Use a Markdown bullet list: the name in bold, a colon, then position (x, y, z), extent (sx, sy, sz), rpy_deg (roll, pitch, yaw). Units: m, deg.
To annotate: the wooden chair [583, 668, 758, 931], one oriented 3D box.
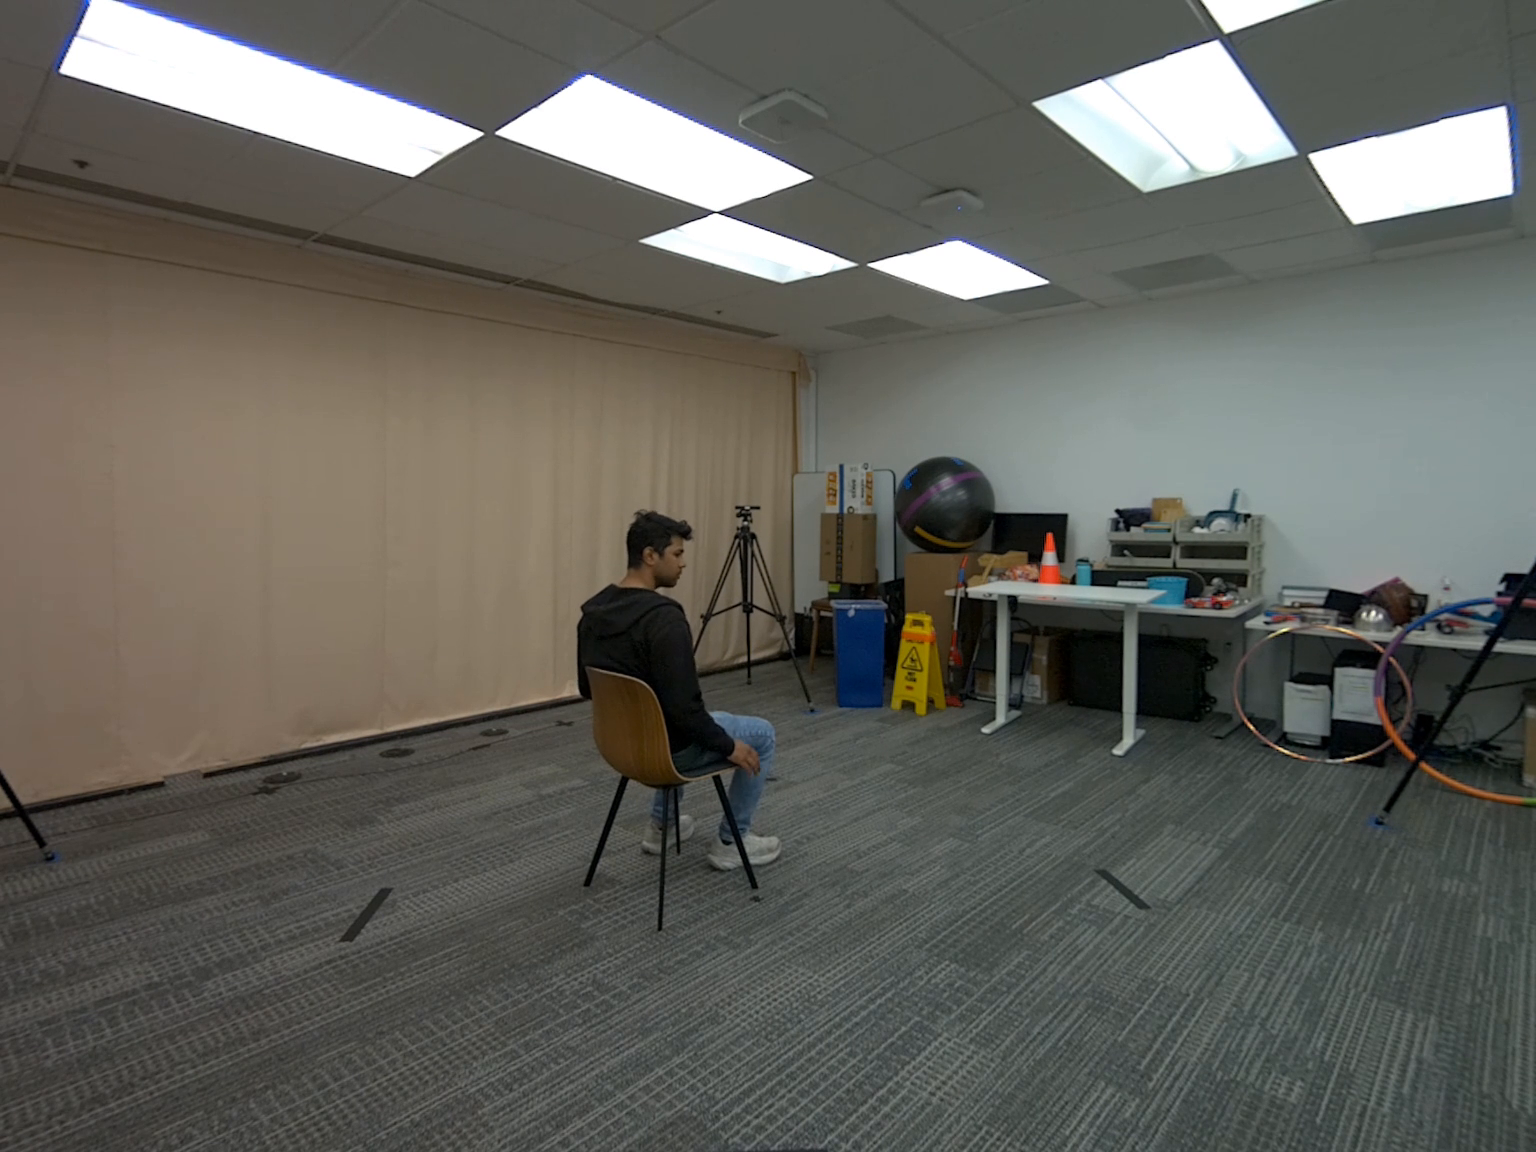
- **wooden chair**: position (-0.351, 0.713, 3.050), extent (0.508, 0.874, 0.494), rpy_deg (-9, 8, -43)
